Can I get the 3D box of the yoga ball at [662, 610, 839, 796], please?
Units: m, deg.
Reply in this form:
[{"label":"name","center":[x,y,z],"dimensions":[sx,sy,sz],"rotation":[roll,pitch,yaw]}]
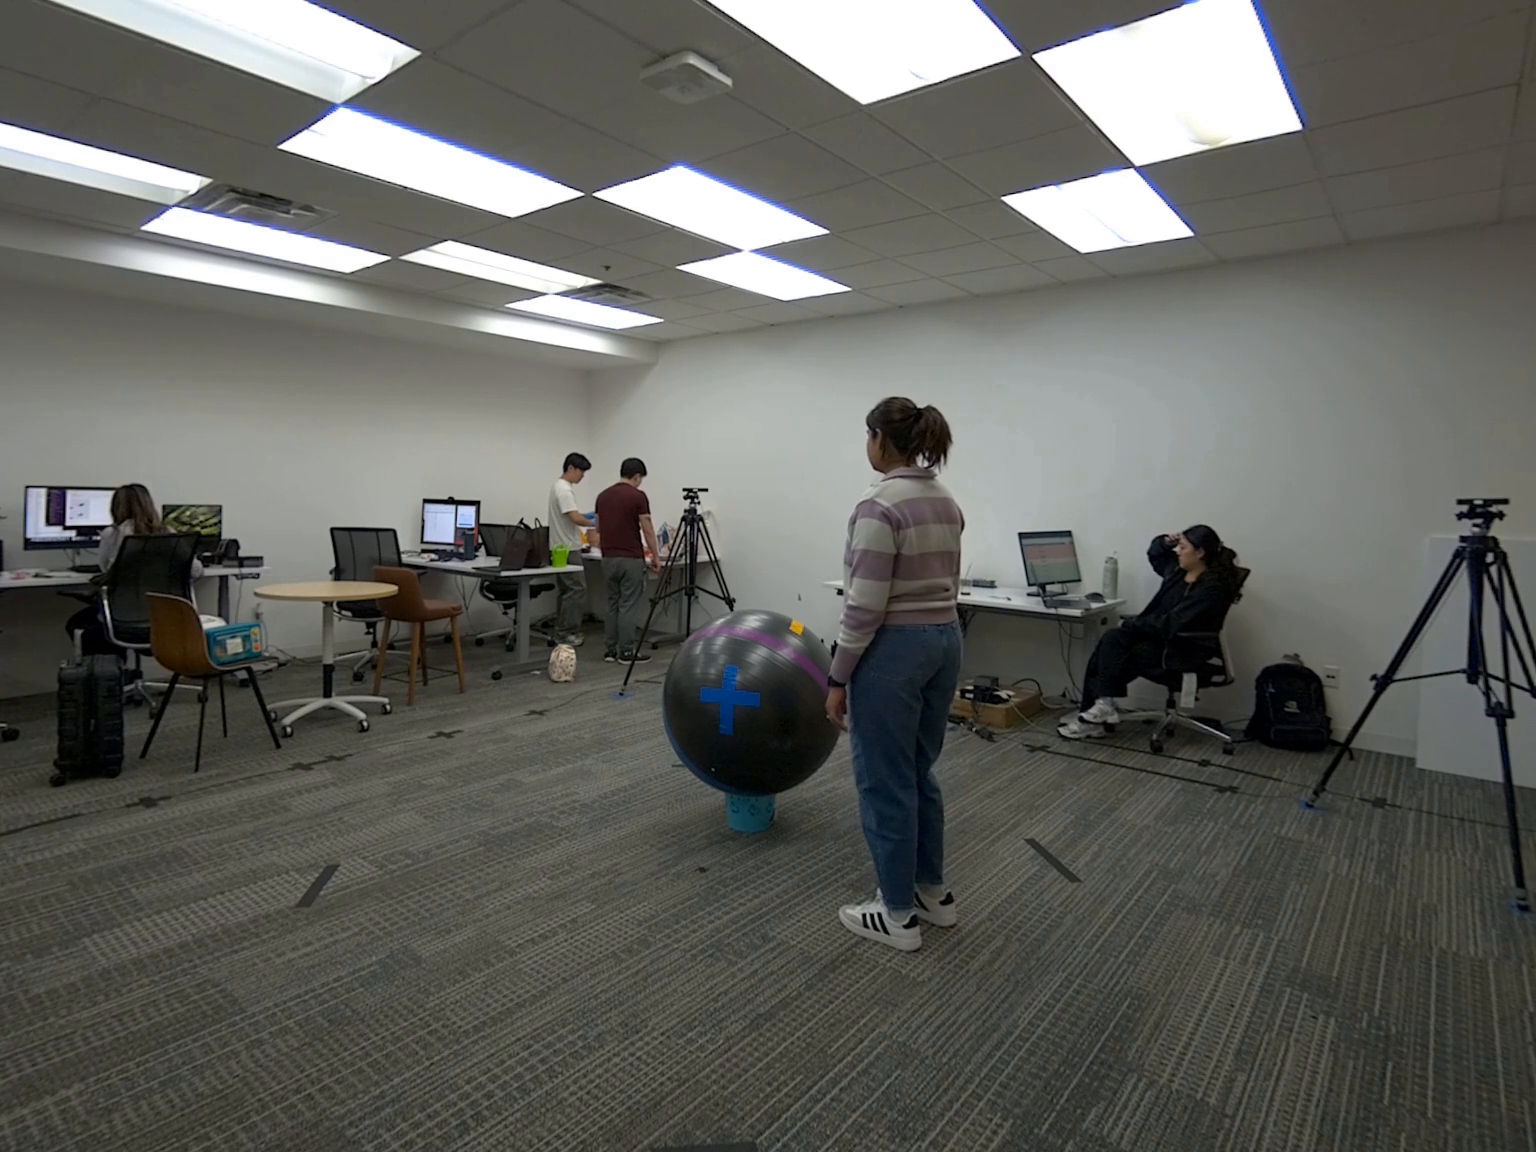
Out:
[{"label":"yoga ball","center":[-0.076,0.518,3.535],"dimensions":[0.757,0.756,0.761],"rotation":[1,4,-2]}]
